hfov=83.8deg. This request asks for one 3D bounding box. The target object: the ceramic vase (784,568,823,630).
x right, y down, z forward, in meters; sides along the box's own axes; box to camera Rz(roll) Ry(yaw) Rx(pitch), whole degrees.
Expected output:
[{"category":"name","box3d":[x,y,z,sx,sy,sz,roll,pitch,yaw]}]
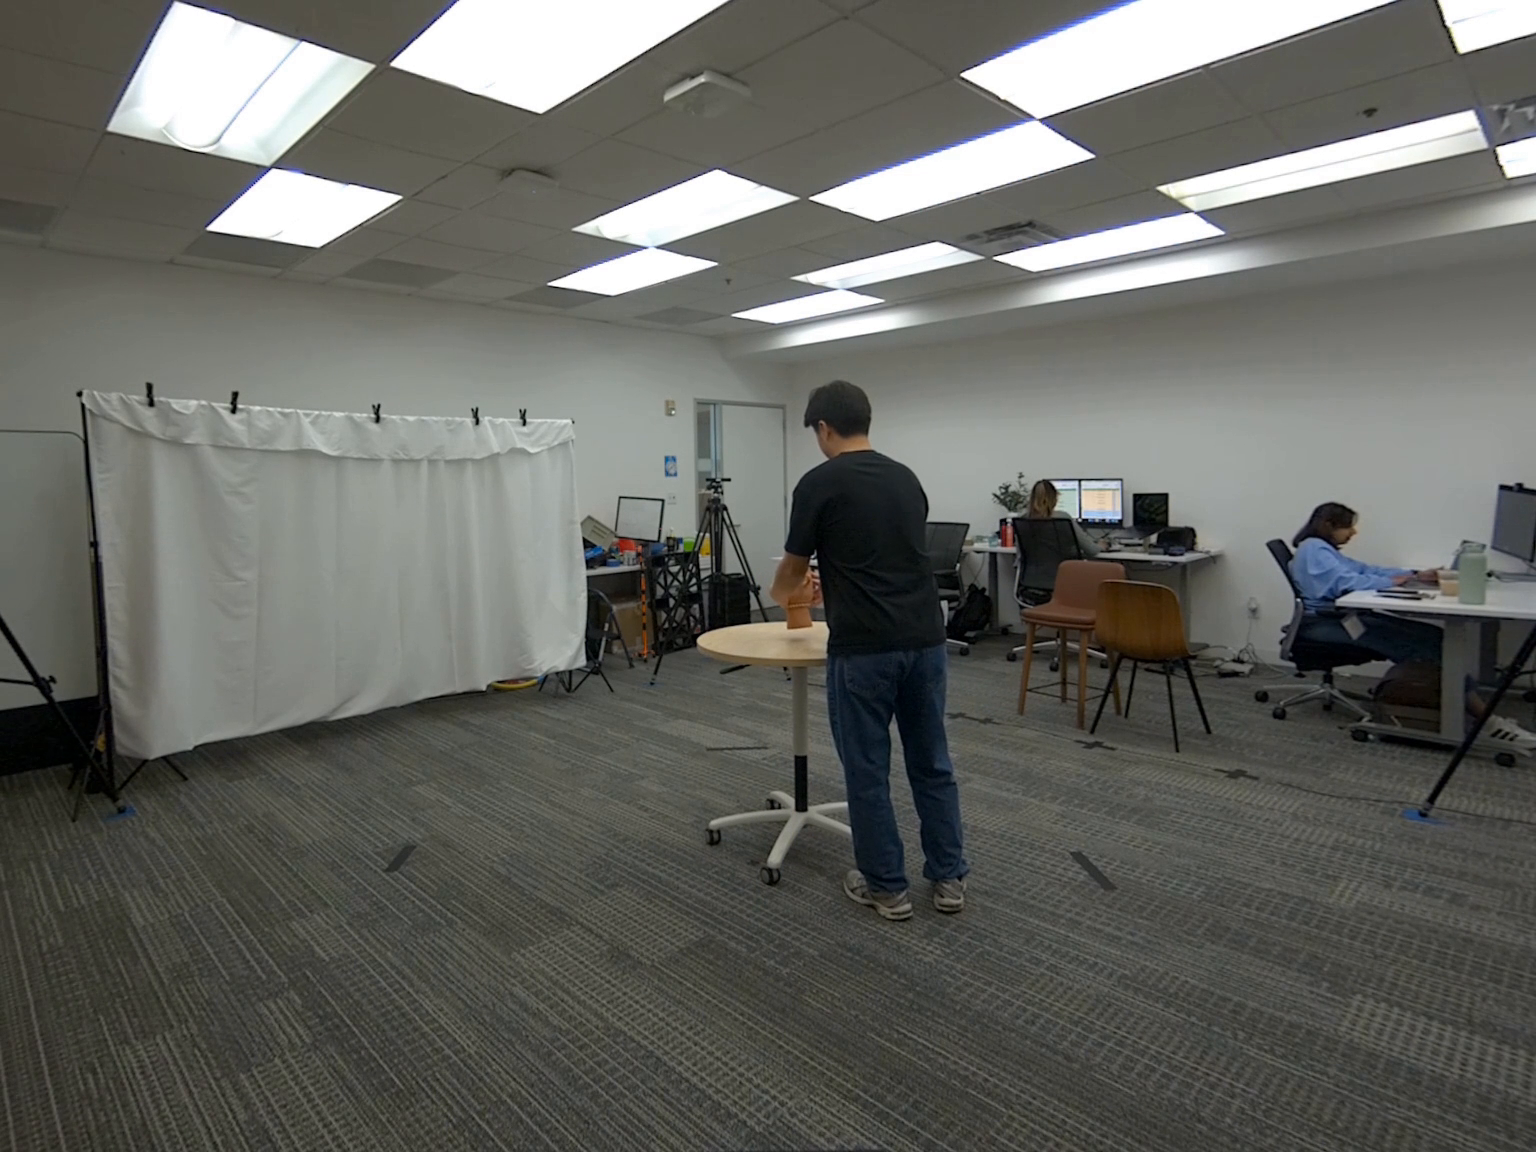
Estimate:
[{"category":"ceramic vase","box3d":[0.115,0.084,3.192,0.135,0.220,0.158,-6,-3,1]}]
